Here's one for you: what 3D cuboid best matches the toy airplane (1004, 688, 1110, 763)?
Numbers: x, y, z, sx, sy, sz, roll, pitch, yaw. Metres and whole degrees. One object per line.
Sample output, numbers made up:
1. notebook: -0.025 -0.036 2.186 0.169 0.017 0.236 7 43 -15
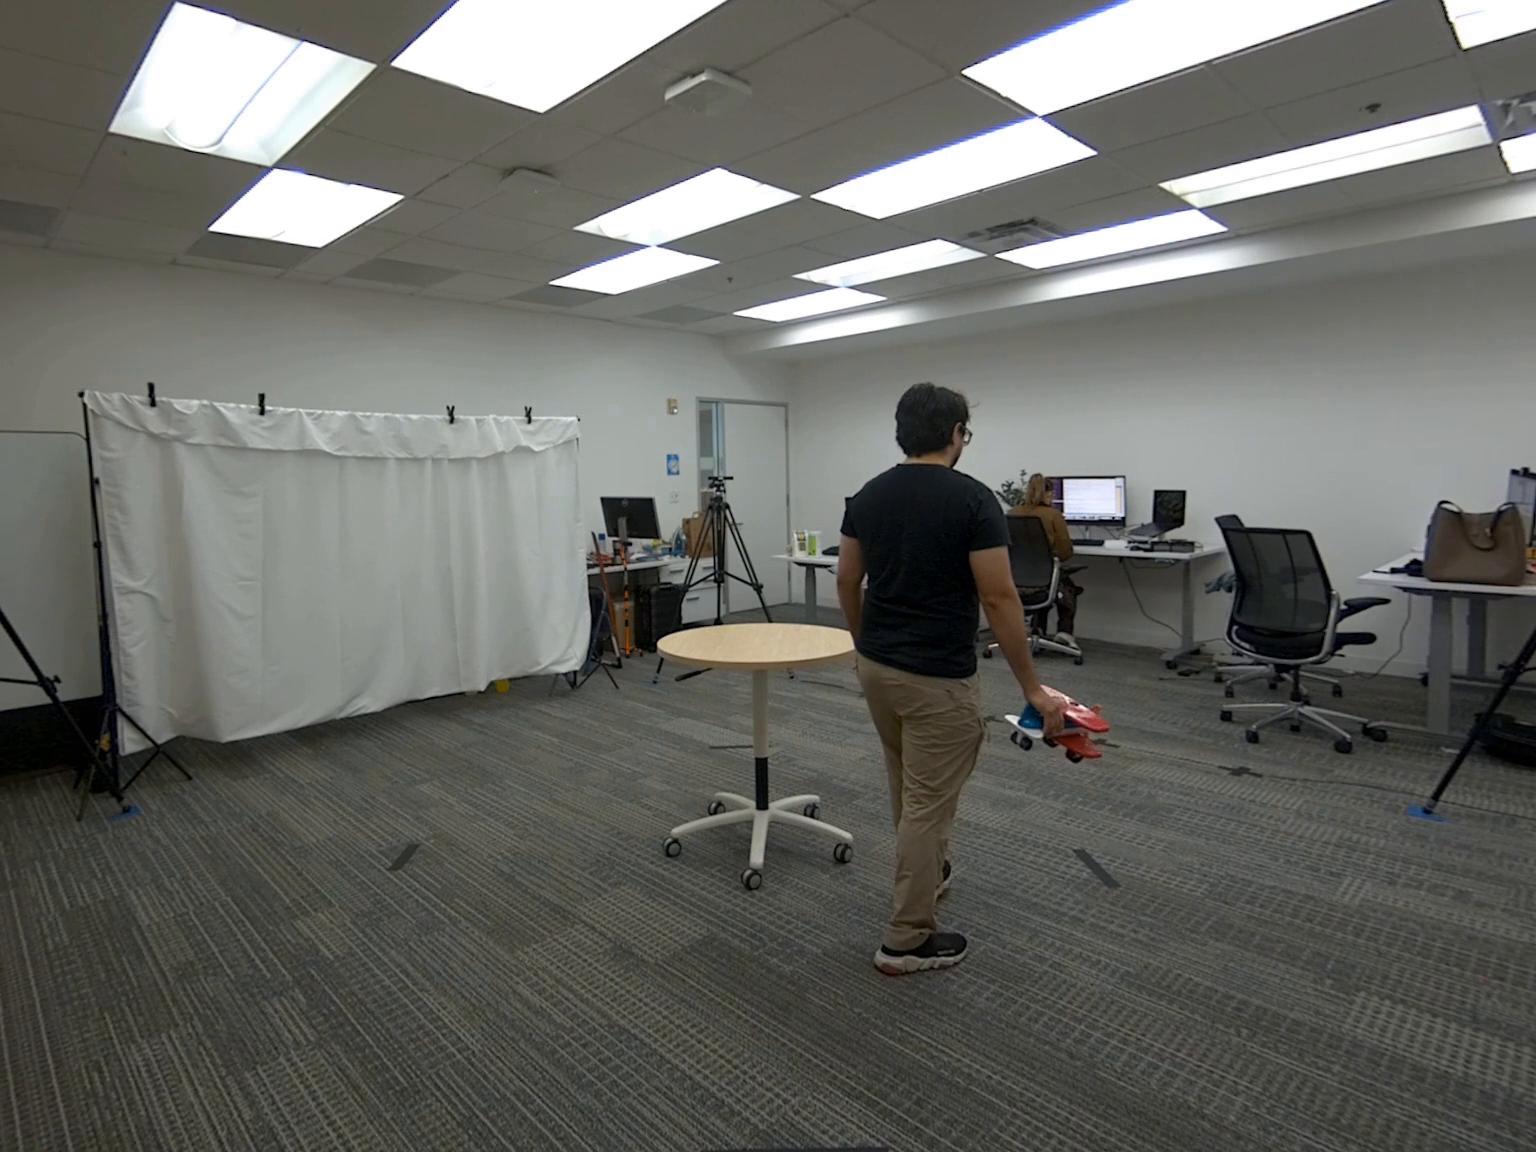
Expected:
1. toy airplane: 0.791 0.417 2.344 0.260 0.156 0.251 27 11 31
